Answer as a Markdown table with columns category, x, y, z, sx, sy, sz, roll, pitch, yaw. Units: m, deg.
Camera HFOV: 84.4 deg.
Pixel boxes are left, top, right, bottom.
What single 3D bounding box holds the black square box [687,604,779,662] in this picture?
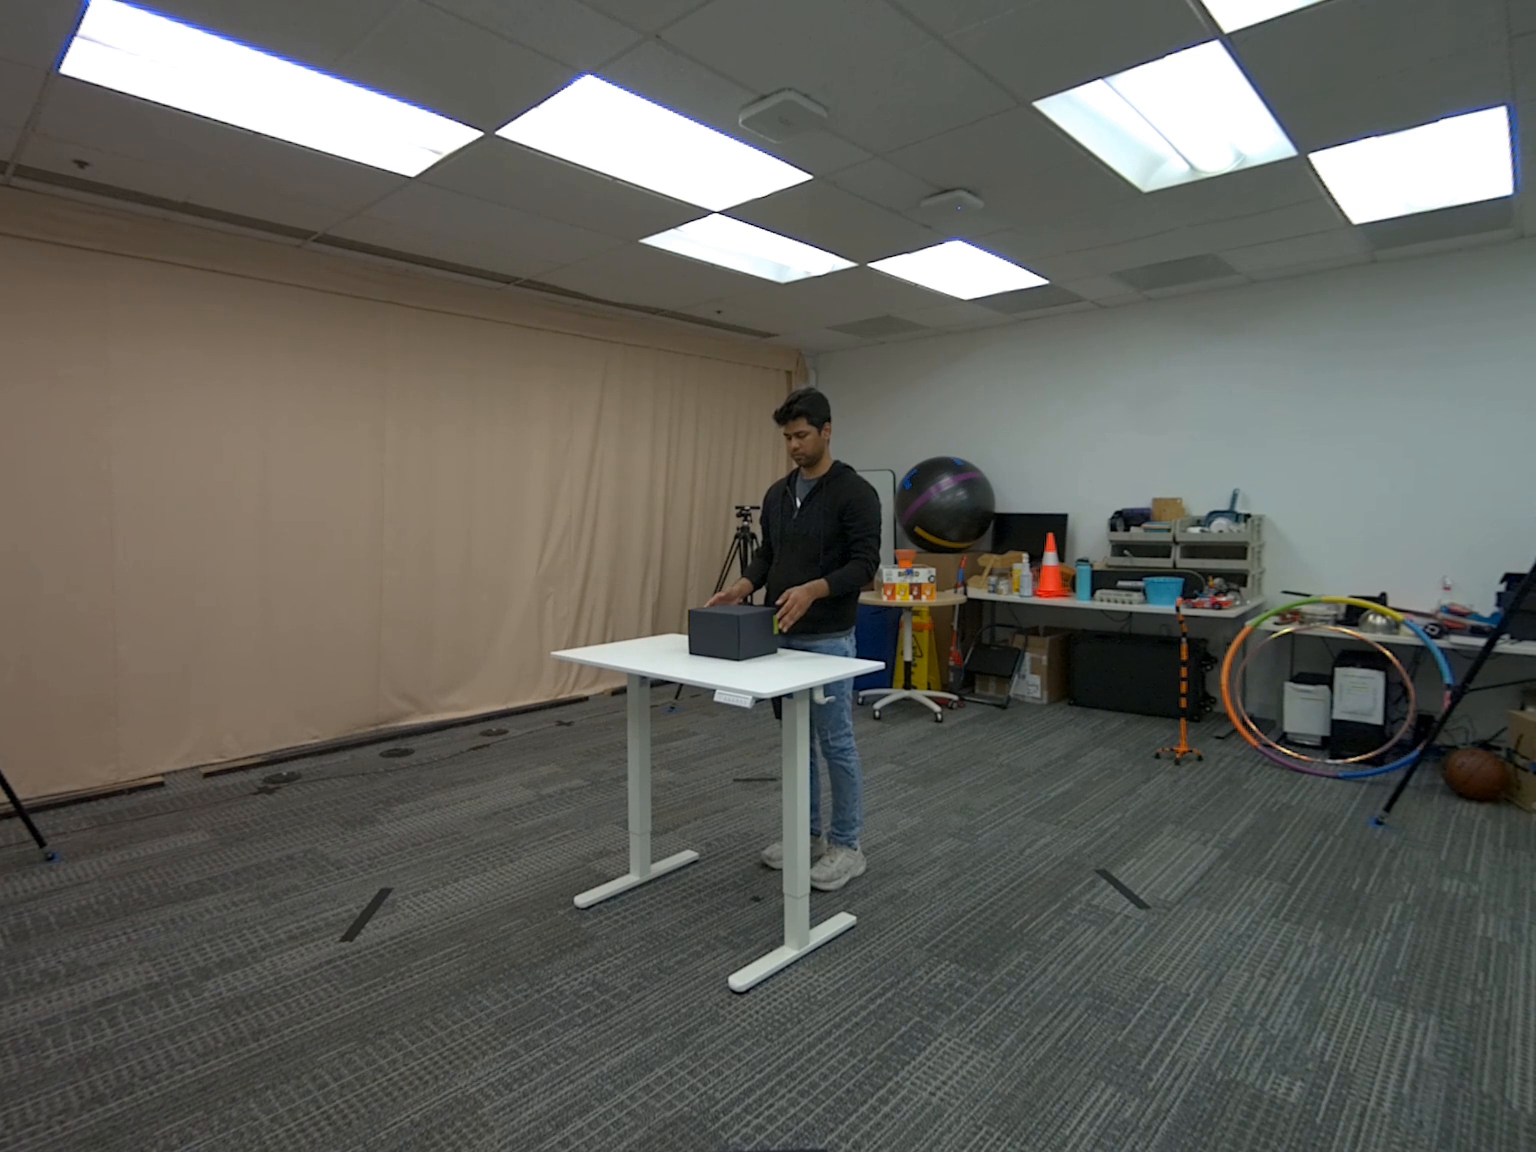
| category | x | y | z | sx | sy | sz | roll | pitch | yaw |
| --- | --- | --- | --- | --- | --- | --- | --- | --- | --- |
| black square box | -0.119 | 0.192 | 2.897 | 0.235 | 0.155 | 0.210 | 3 | 5 | 39 |
